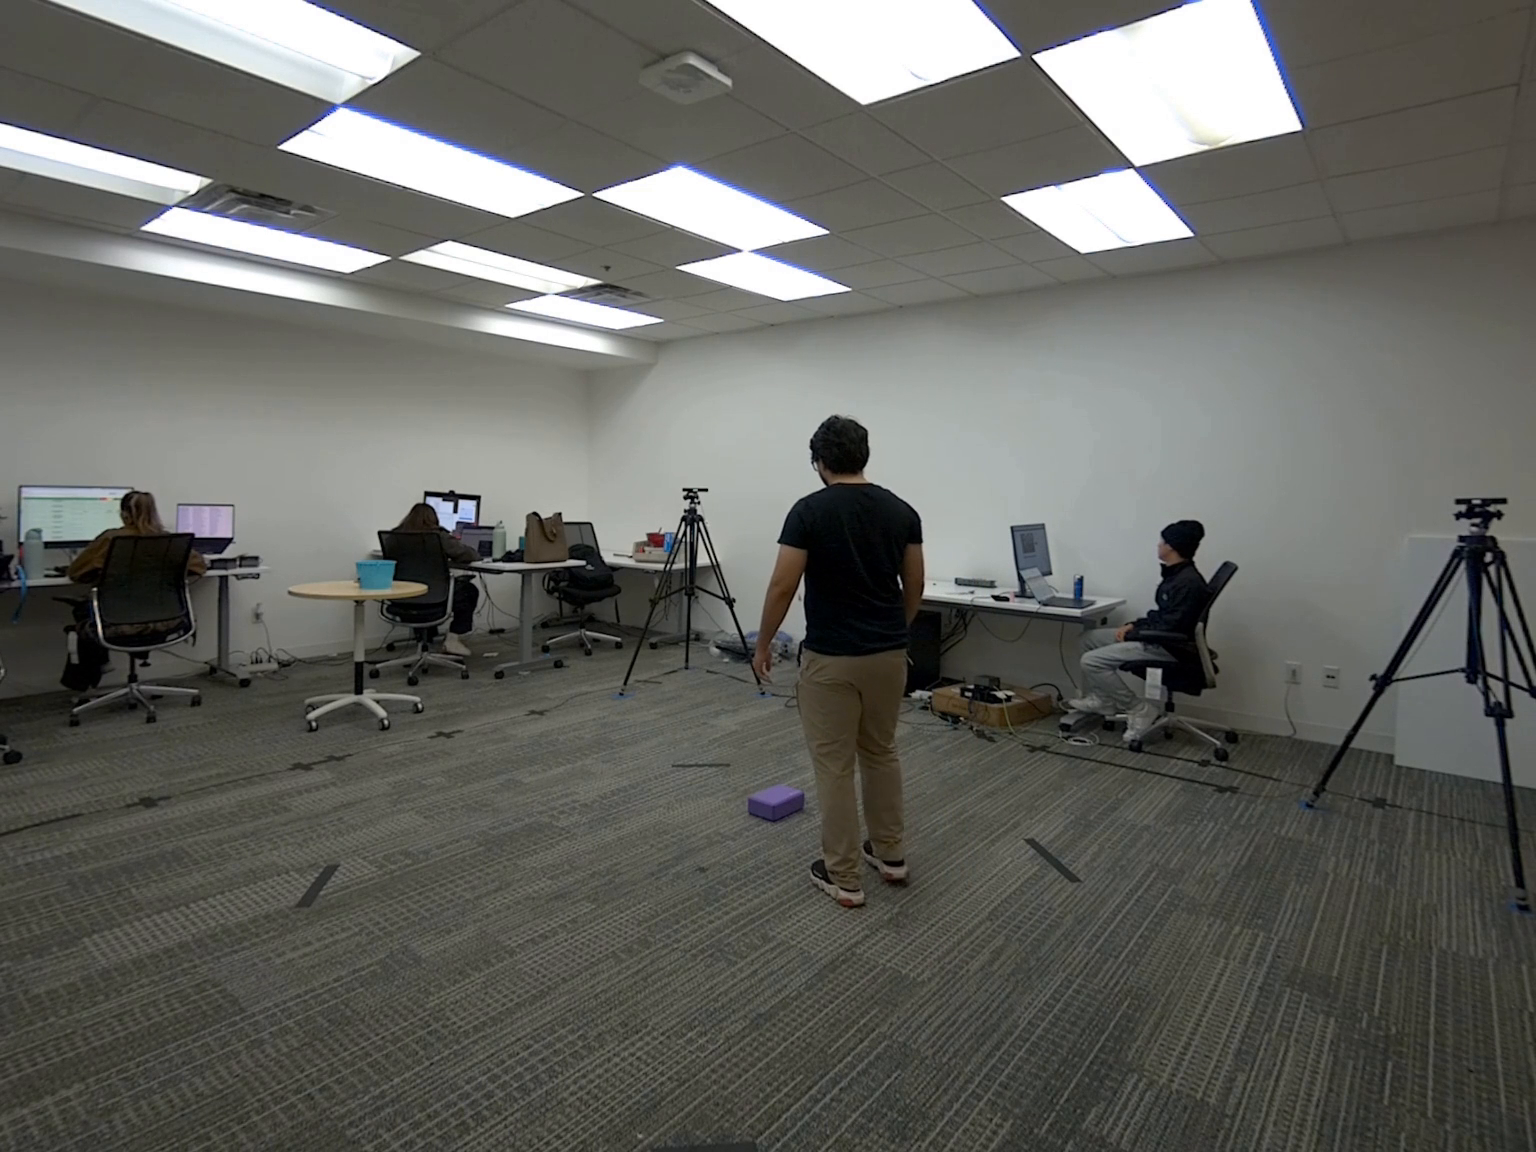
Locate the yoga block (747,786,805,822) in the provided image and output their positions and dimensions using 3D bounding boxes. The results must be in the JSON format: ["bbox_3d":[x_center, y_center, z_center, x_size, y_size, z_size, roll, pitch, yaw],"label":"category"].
[{"bbox_3d":[0.028,0.978,3.692,0.154,0.076,0.222,4,6,39],"label":"yoga block"}]
